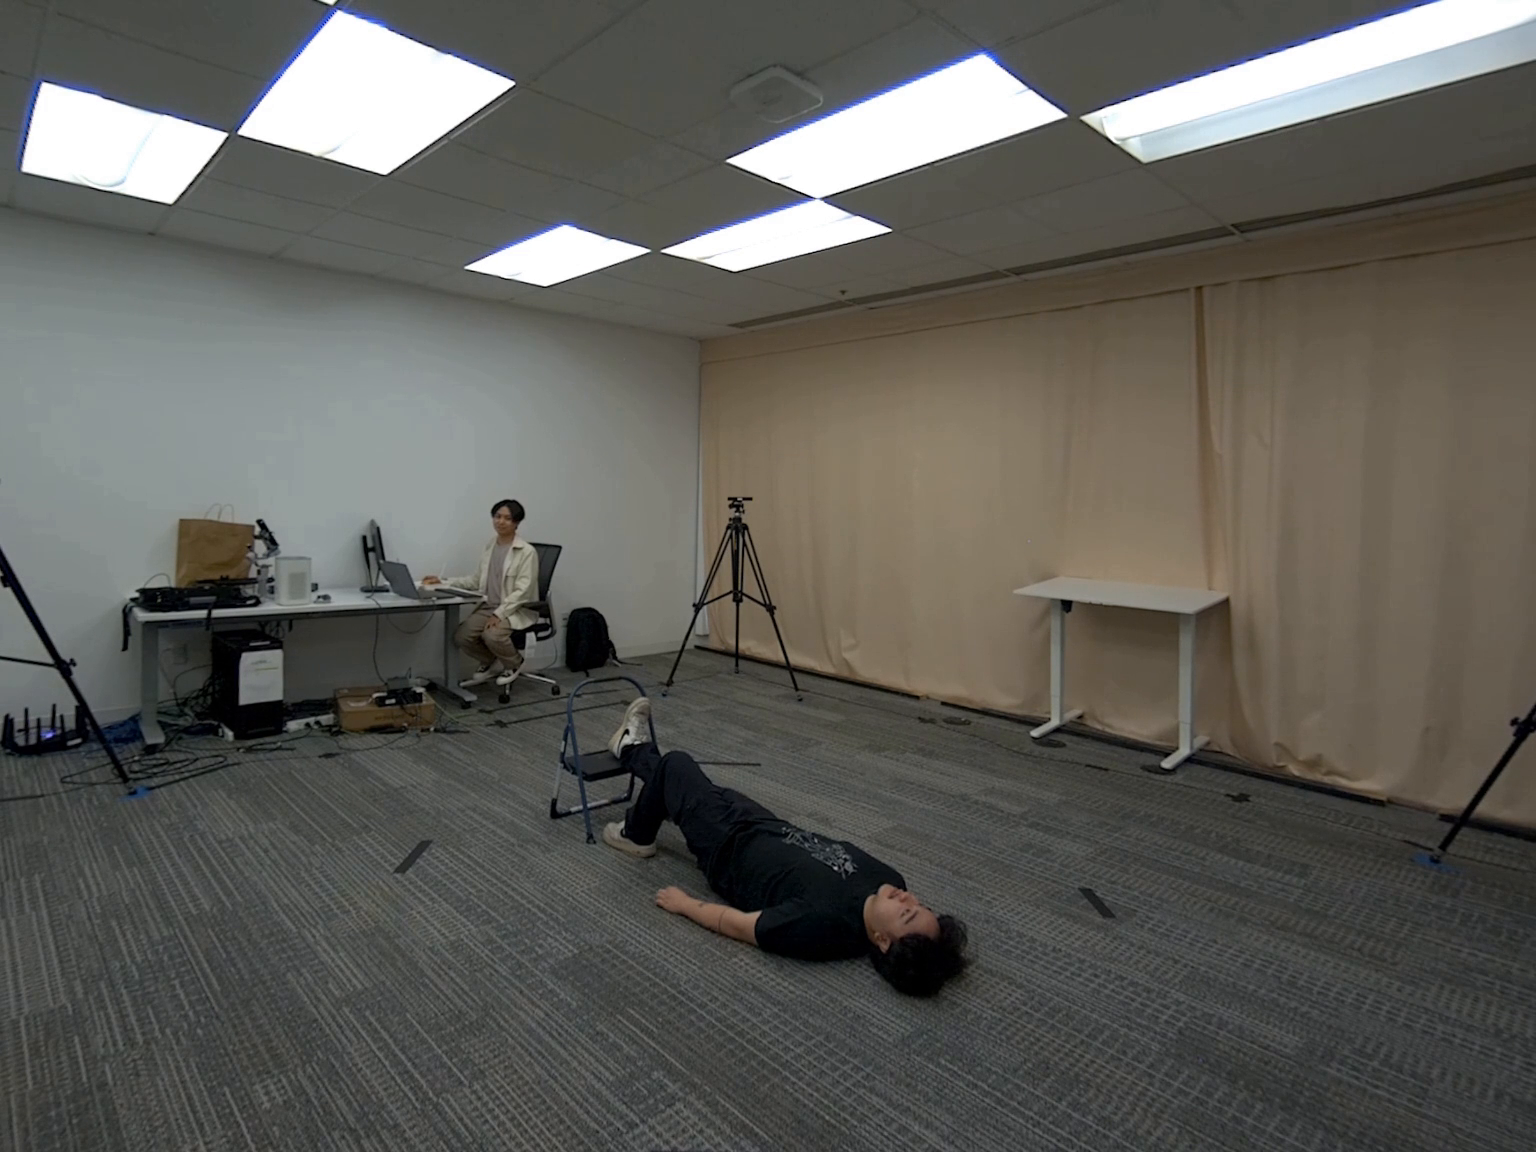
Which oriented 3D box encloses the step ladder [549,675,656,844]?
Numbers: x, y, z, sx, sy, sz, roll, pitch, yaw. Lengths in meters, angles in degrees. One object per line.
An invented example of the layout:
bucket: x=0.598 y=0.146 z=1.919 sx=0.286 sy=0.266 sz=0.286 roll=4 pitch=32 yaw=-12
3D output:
step ladder: x=-0.677 y=0.752 z=3.618 sx=0.420 sy=0.605 sz=0.358 roll=-1 pitch=4 yaw=-43
